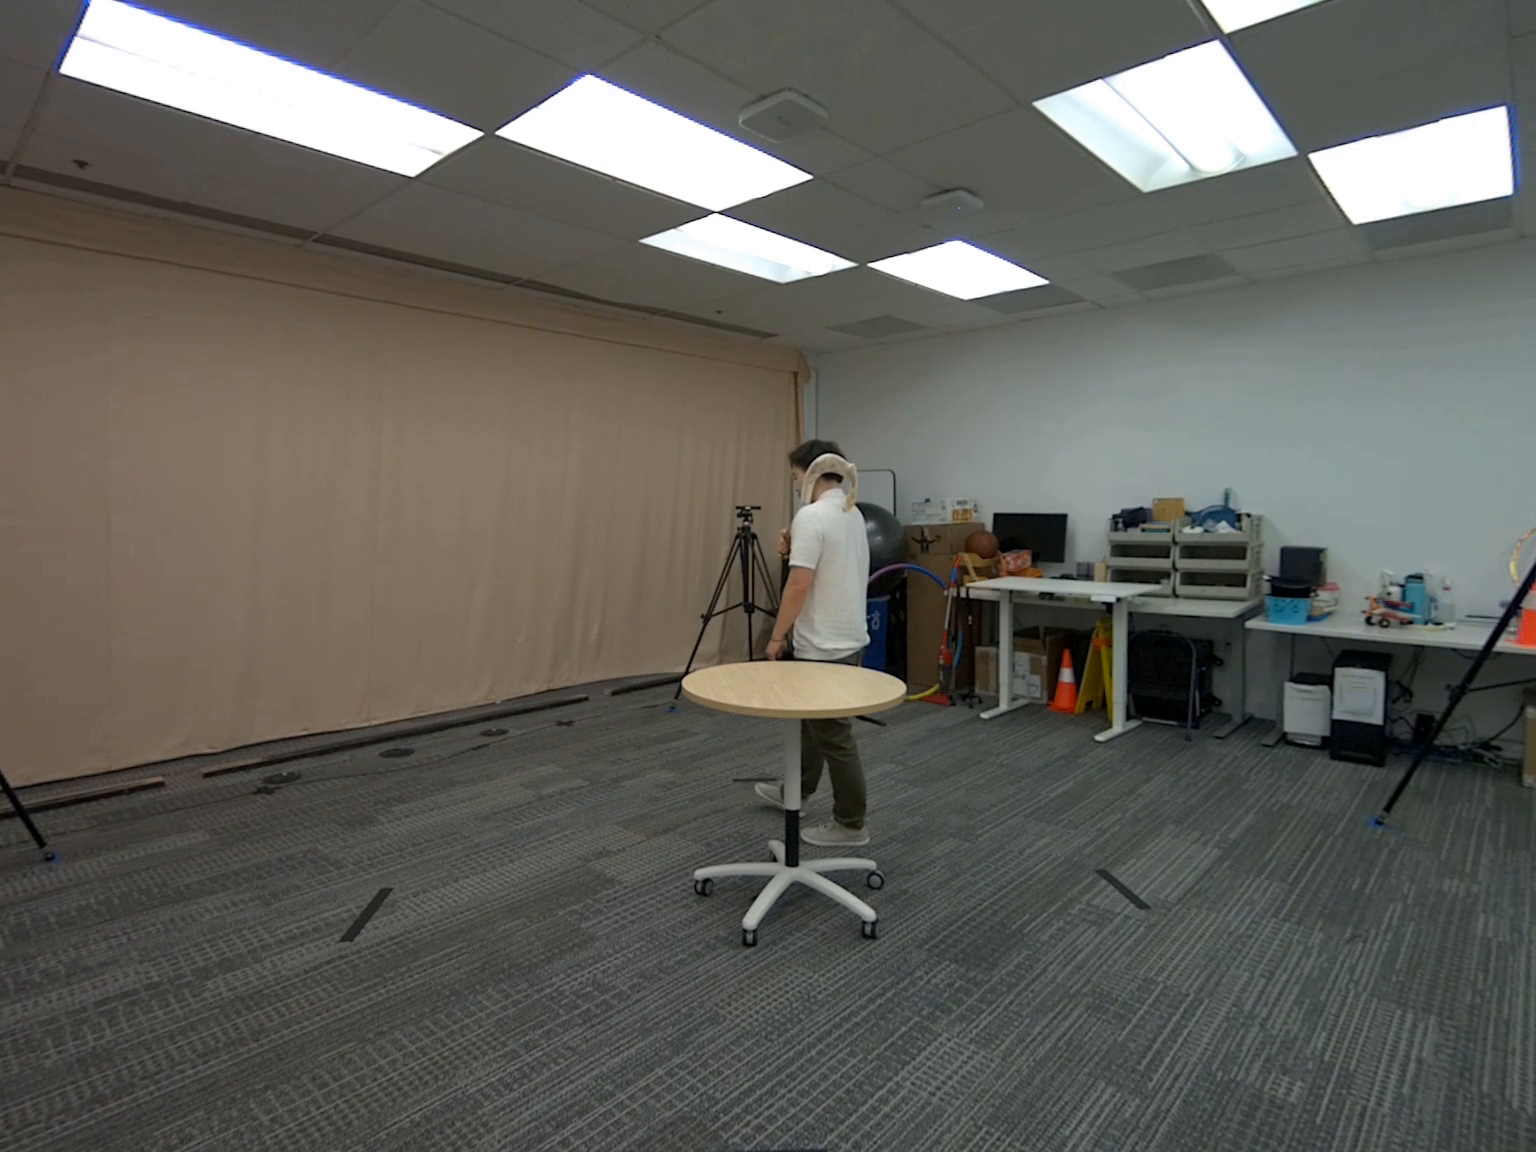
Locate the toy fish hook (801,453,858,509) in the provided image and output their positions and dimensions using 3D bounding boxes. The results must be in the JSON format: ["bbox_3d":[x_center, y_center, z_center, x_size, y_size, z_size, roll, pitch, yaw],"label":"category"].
[{"bbox_3d":[0.206,-0.254,3.437,0.229,0.505,0.047,33,27,16],"label":"toy fish hook"}]
